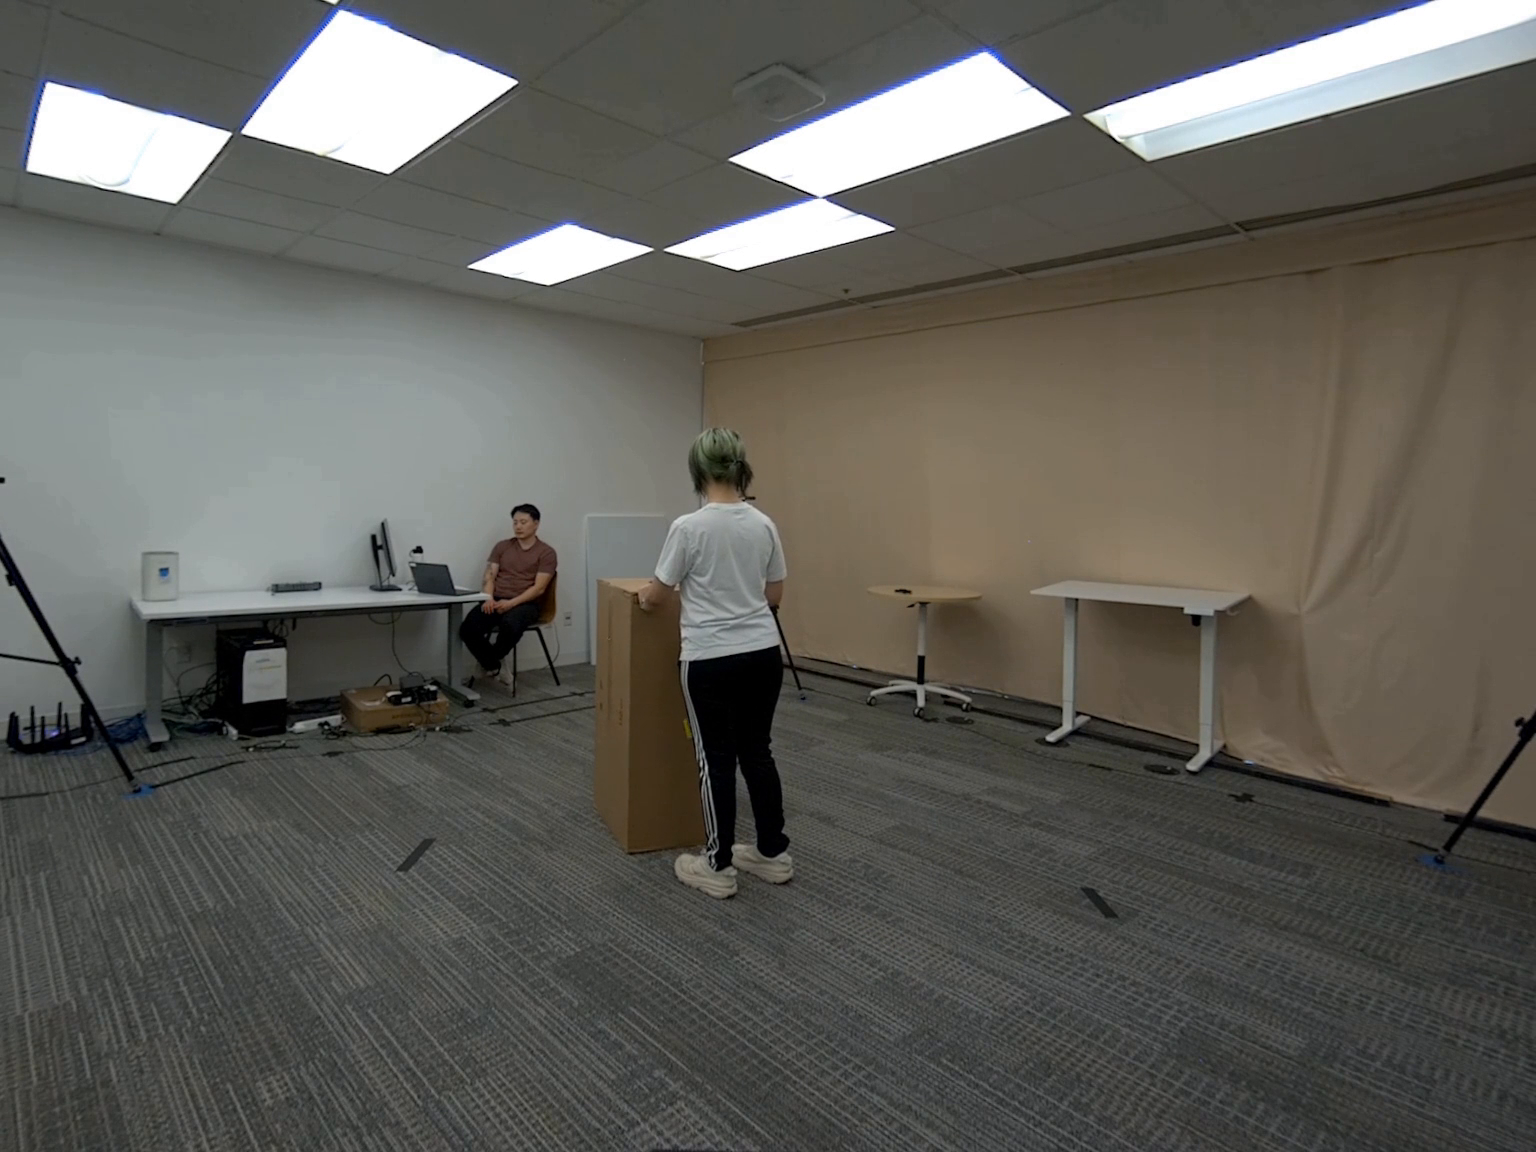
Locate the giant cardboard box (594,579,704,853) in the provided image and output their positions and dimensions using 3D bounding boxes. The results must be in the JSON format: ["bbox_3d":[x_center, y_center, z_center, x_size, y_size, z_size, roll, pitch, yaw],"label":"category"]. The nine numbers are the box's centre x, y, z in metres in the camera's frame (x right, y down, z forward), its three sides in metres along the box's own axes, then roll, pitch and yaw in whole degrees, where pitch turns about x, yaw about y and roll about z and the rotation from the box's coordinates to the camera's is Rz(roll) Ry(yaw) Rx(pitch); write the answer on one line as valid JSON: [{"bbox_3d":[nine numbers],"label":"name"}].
[{"bbox_3d":[-0.472,0.545,3.583,0.439,1.025,0.596,-1,3,-26],"label":"giant cardboard box"}]
